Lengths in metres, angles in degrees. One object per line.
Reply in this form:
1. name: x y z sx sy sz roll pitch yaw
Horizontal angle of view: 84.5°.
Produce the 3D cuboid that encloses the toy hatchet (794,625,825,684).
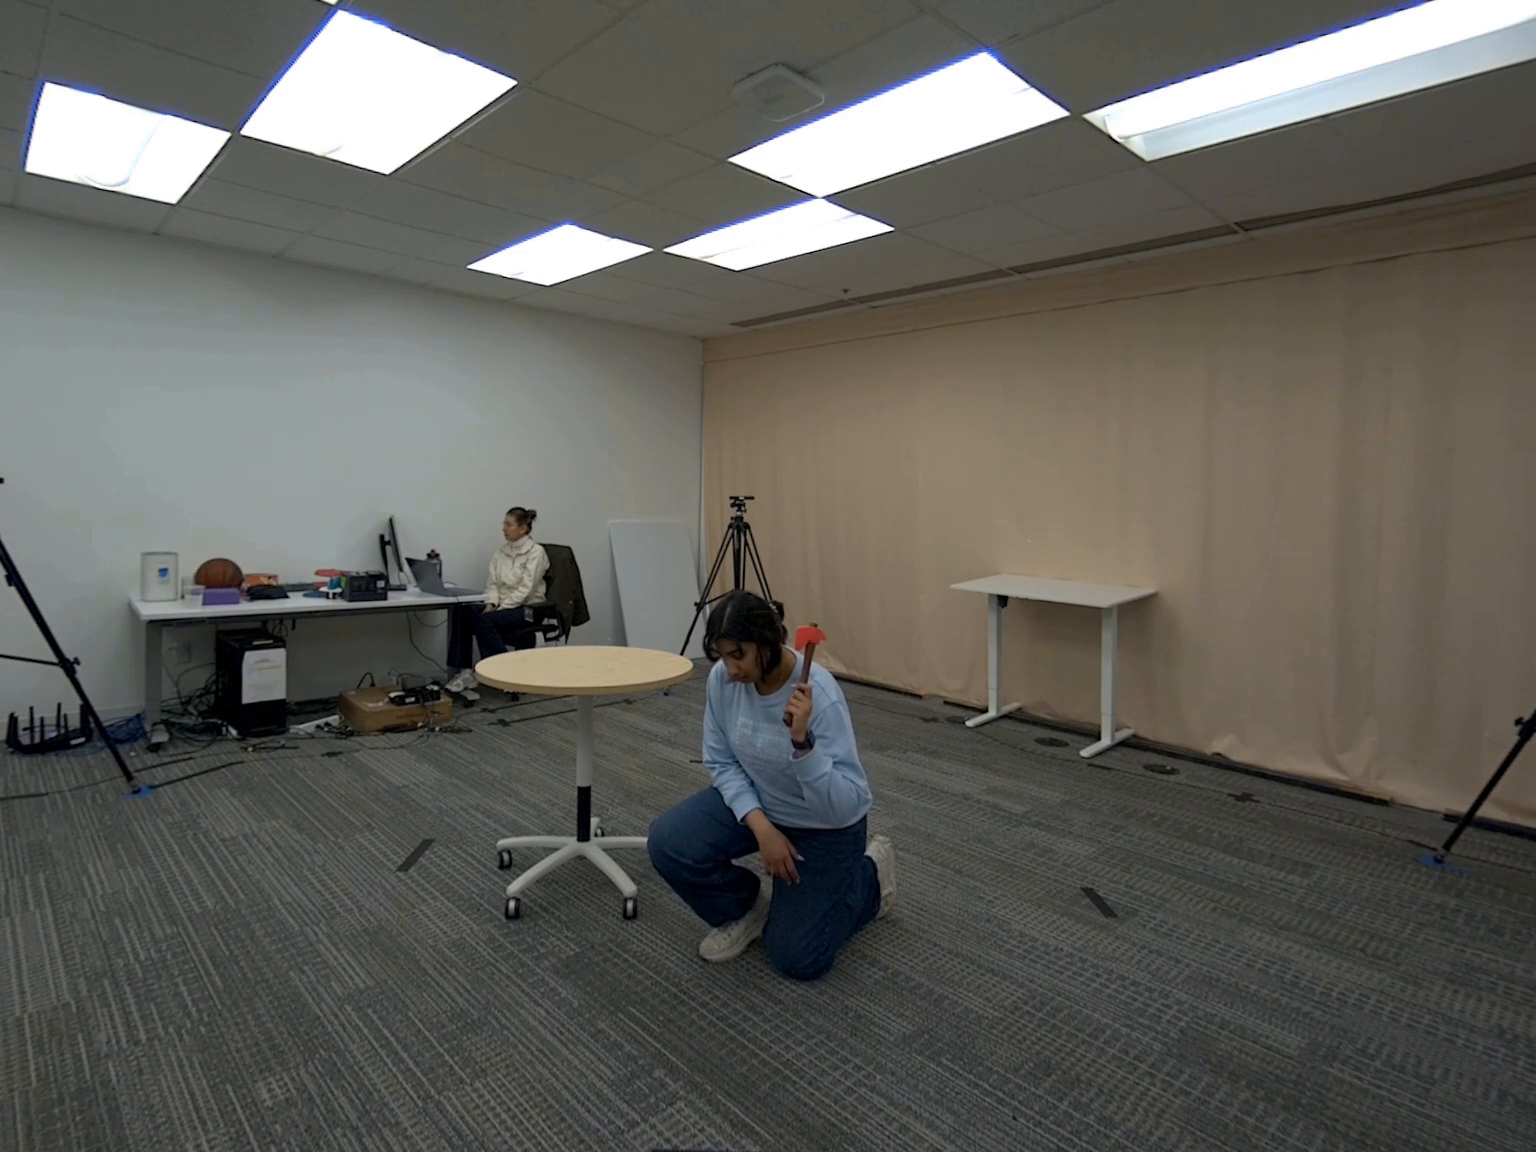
1. toy hatchet: 0.064 0.238 2.172 0.030 0.272 0.127 3 -31 37
